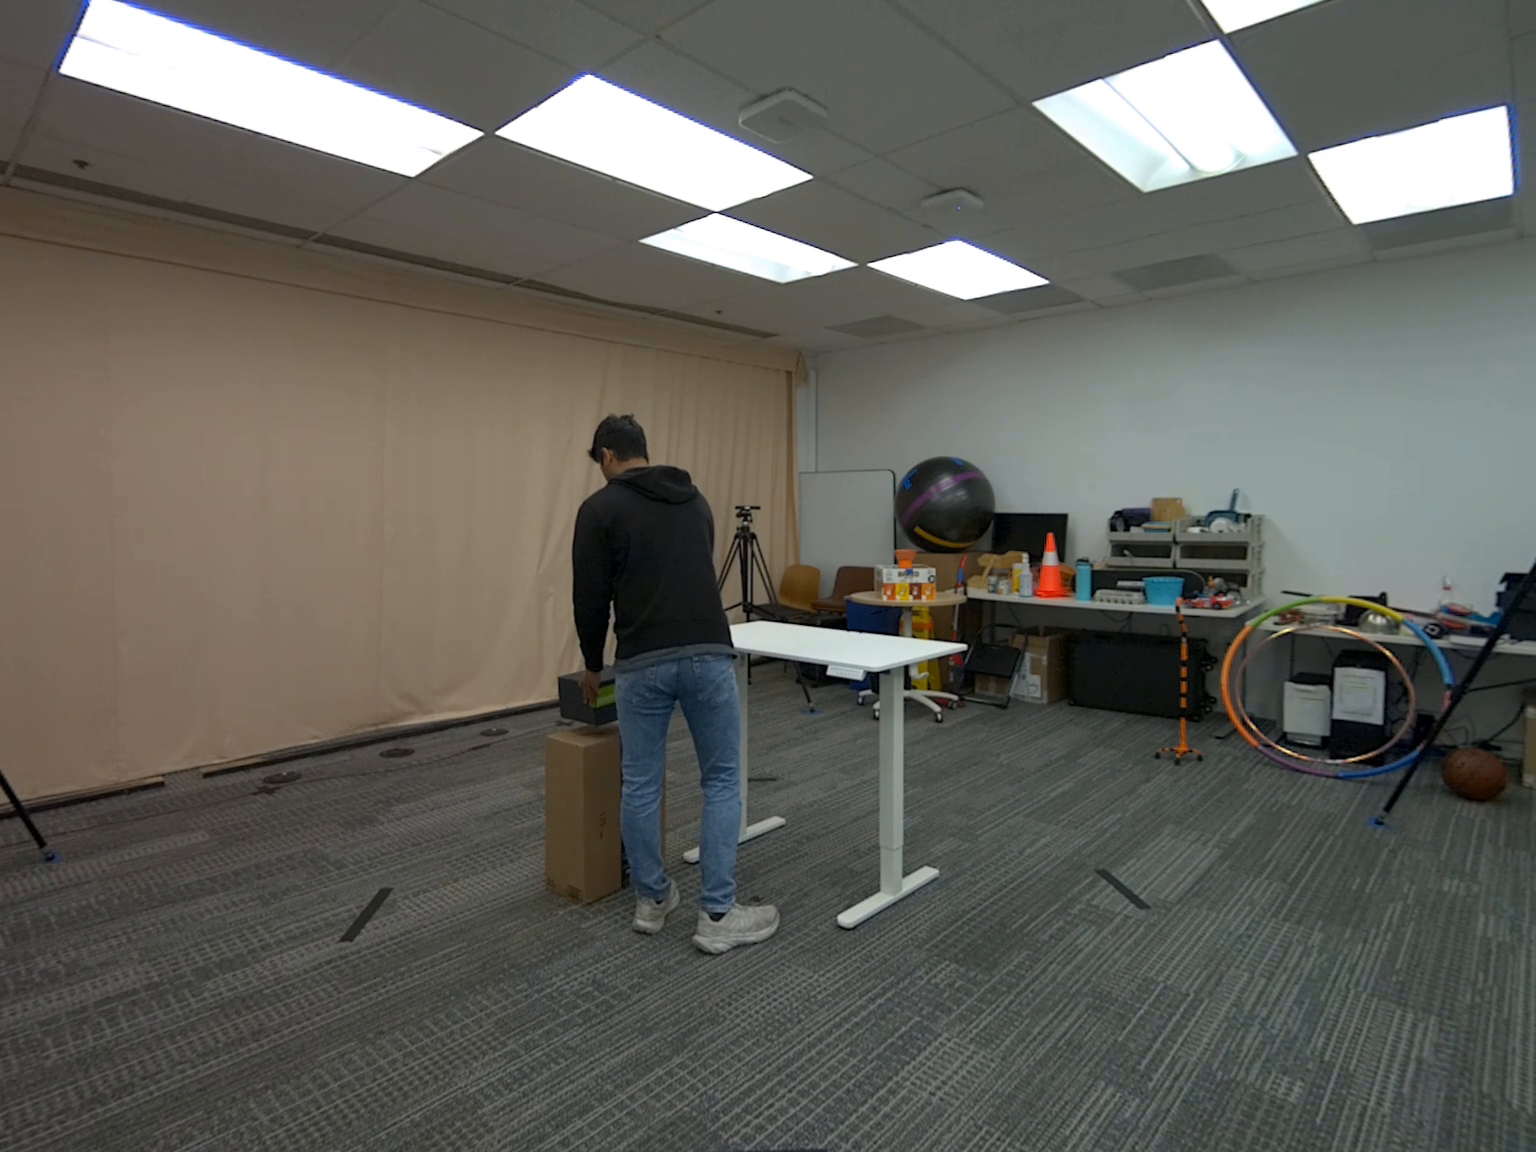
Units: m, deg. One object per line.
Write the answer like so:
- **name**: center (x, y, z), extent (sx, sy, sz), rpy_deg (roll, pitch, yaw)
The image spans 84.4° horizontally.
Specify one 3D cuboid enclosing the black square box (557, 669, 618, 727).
- **black square box**: center (-0.616, 0.438, 3.123), extent (0.224, 0.155, 0.221), rpy_deg (2, 6, 41)
